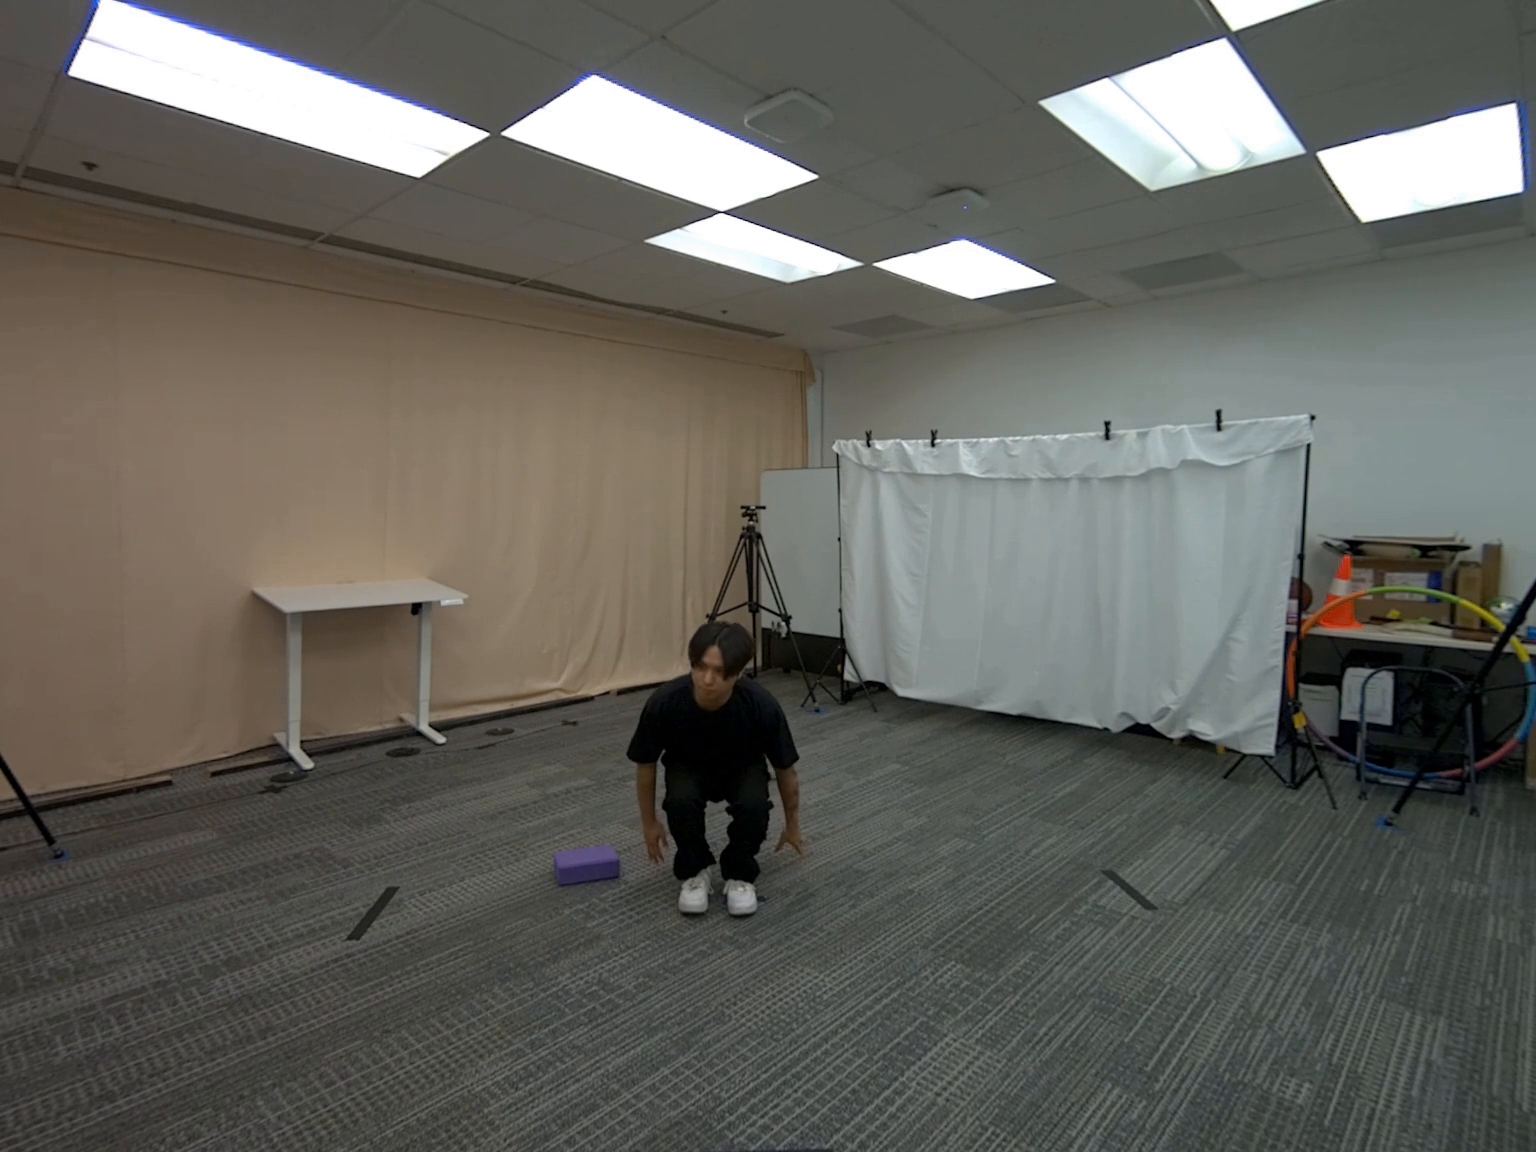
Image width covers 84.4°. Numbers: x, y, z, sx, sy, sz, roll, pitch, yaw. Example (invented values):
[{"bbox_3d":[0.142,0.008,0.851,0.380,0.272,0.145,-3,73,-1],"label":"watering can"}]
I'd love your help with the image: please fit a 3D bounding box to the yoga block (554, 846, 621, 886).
[{"bbox_3d":[-0.686,1.095,3.190,0.225,0.076,0.152,-2,4,-18],"label":"yoga block"}]
